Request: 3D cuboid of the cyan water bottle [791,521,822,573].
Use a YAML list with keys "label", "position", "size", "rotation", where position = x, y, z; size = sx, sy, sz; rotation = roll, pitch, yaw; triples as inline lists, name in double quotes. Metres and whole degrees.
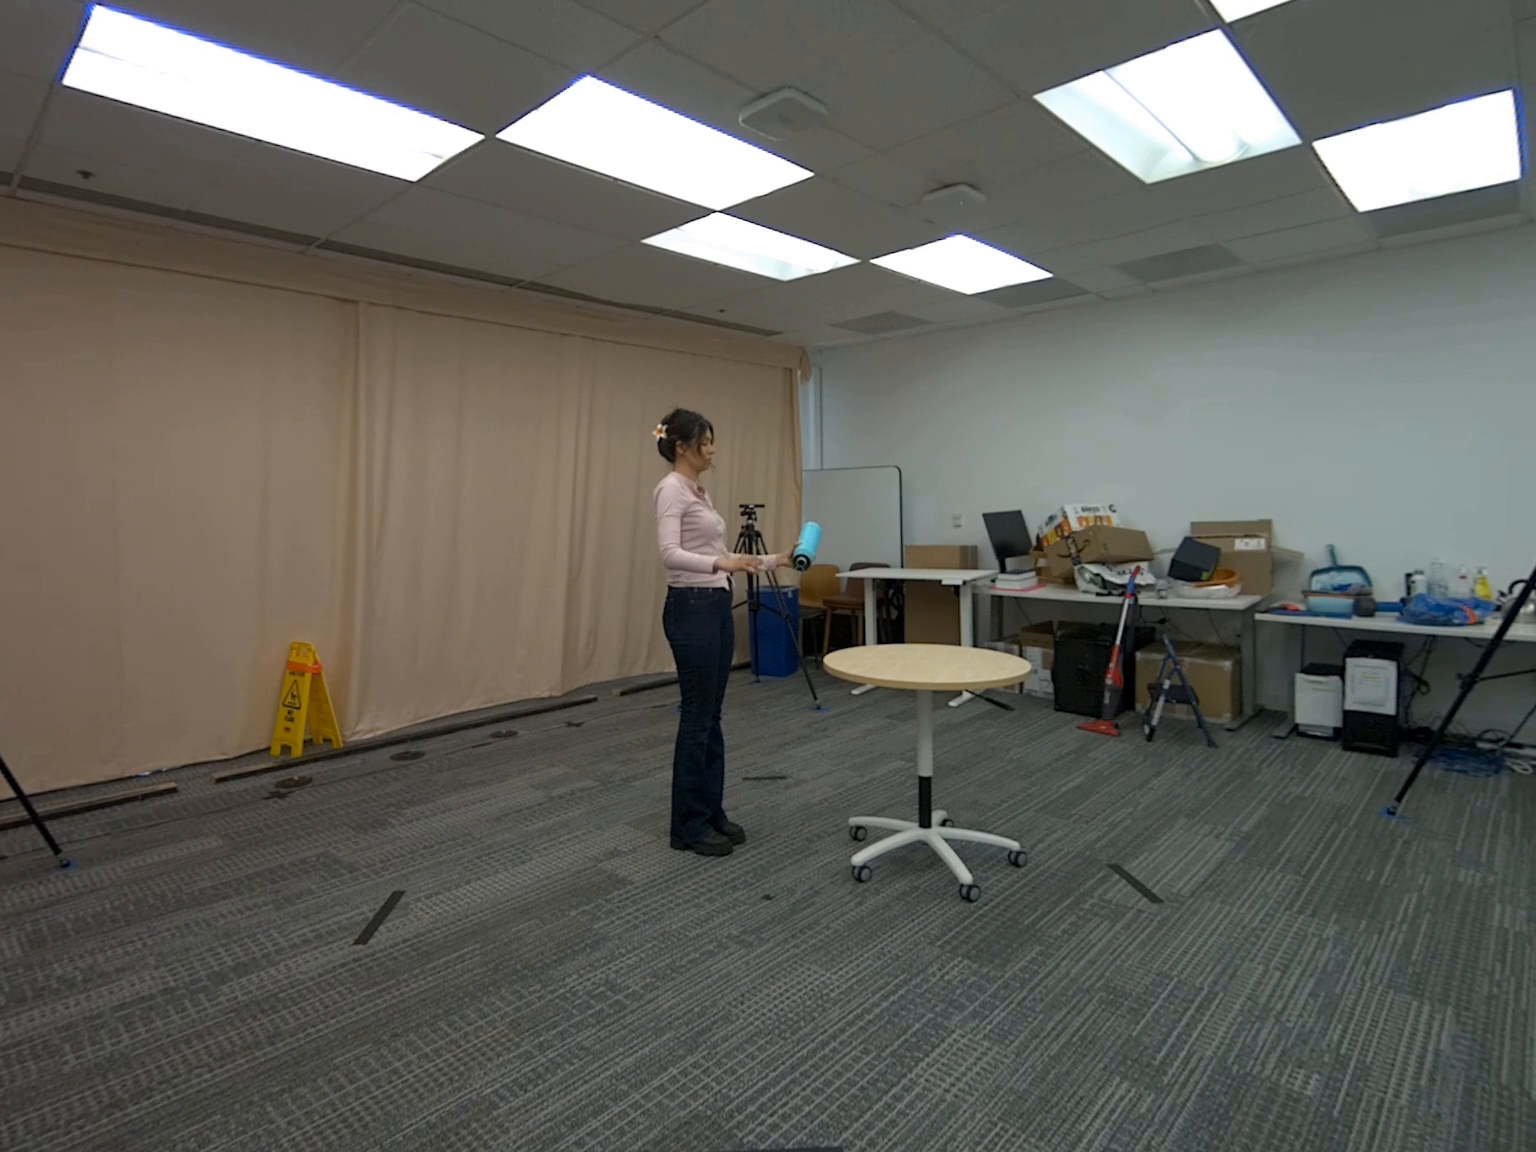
- label: "cyan water bottle"
  position: [0.174, -0.124, 3.624]
  size: [0.093, 0.090, 0.286]
  rotation: [-1, 34, 10]
